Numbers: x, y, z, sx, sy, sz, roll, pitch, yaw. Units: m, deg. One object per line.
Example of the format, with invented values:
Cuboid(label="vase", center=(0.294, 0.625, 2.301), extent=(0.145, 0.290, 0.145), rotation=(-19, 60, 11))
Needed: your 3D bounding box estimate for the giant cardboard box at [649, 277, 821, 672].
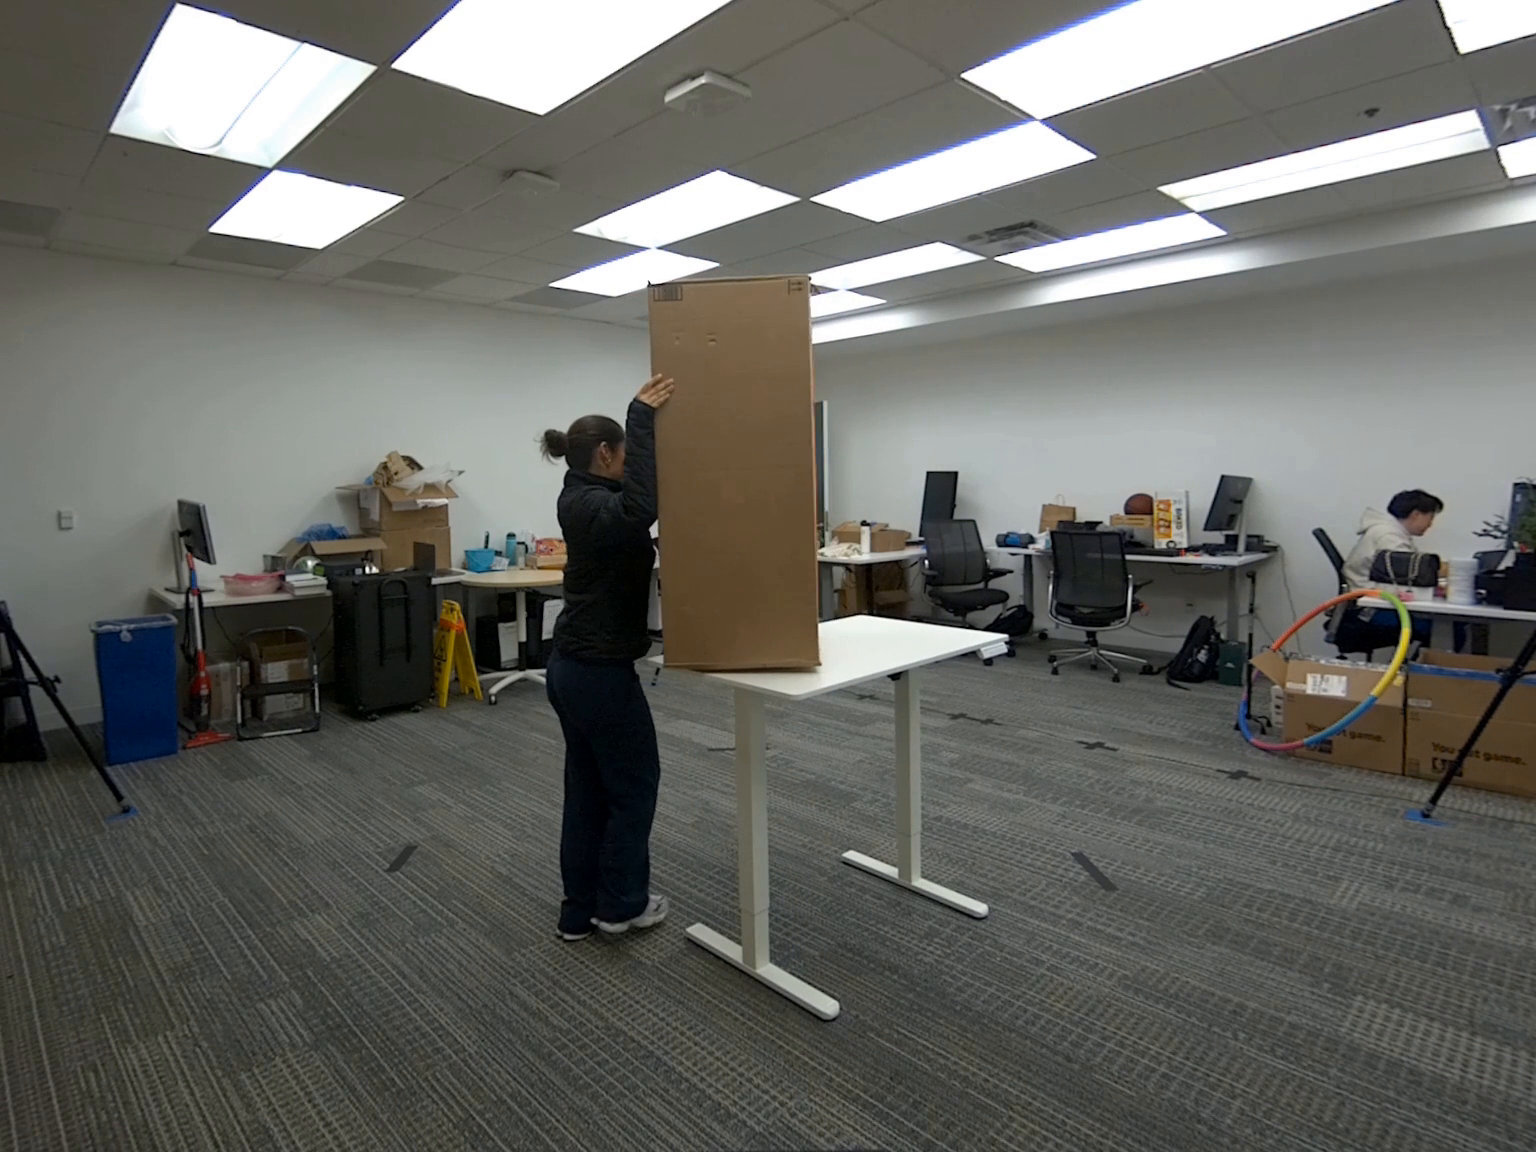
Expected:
Cuboid(label="giant cardboard box", center=(-0.071, -0.298, 2.524), extent=(0.448, 1.022, 0.585), rotation=(-1, 5, 3))
